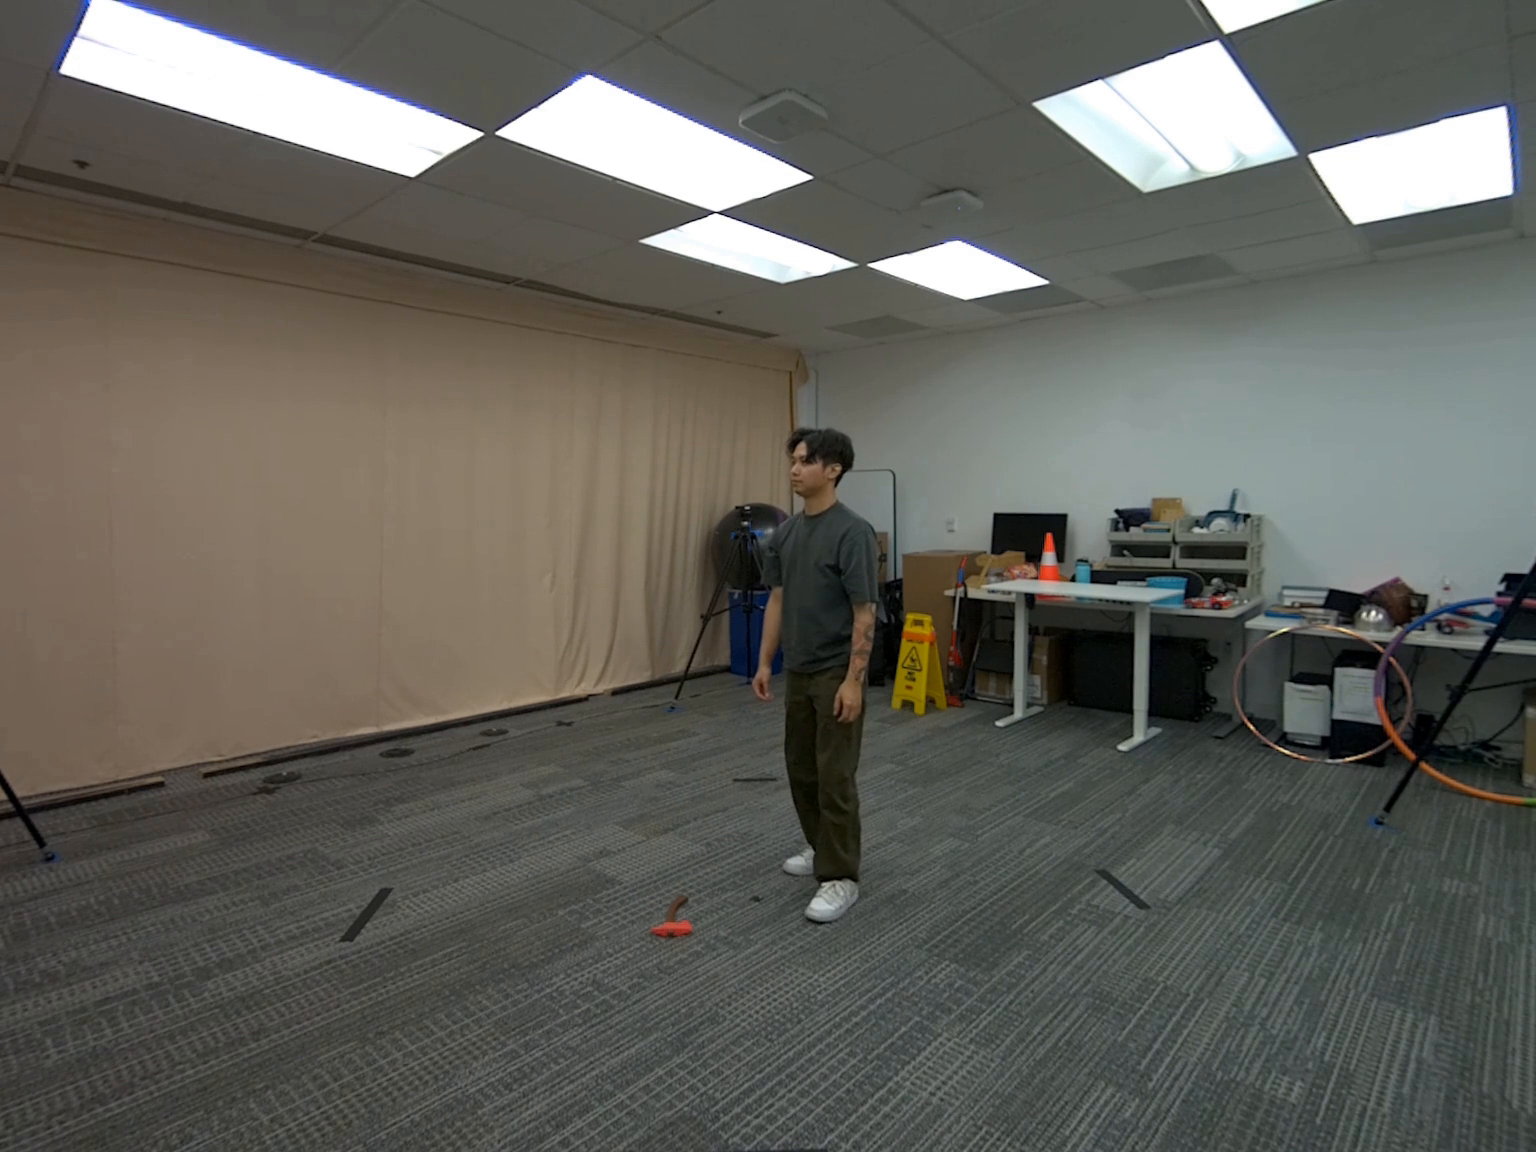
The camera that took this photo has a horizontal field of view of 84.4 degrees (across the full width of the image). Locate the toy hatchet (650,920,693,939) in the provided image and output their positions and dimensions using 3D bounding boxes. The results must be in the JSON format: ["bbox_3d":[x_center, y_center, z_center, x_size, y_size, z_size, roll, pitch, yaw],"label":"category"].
[{"bbox_3d":[-0.287,1.145,2.839,0.133,0.029,0.266,0,4,15],"label":"toy hatchet"}]
